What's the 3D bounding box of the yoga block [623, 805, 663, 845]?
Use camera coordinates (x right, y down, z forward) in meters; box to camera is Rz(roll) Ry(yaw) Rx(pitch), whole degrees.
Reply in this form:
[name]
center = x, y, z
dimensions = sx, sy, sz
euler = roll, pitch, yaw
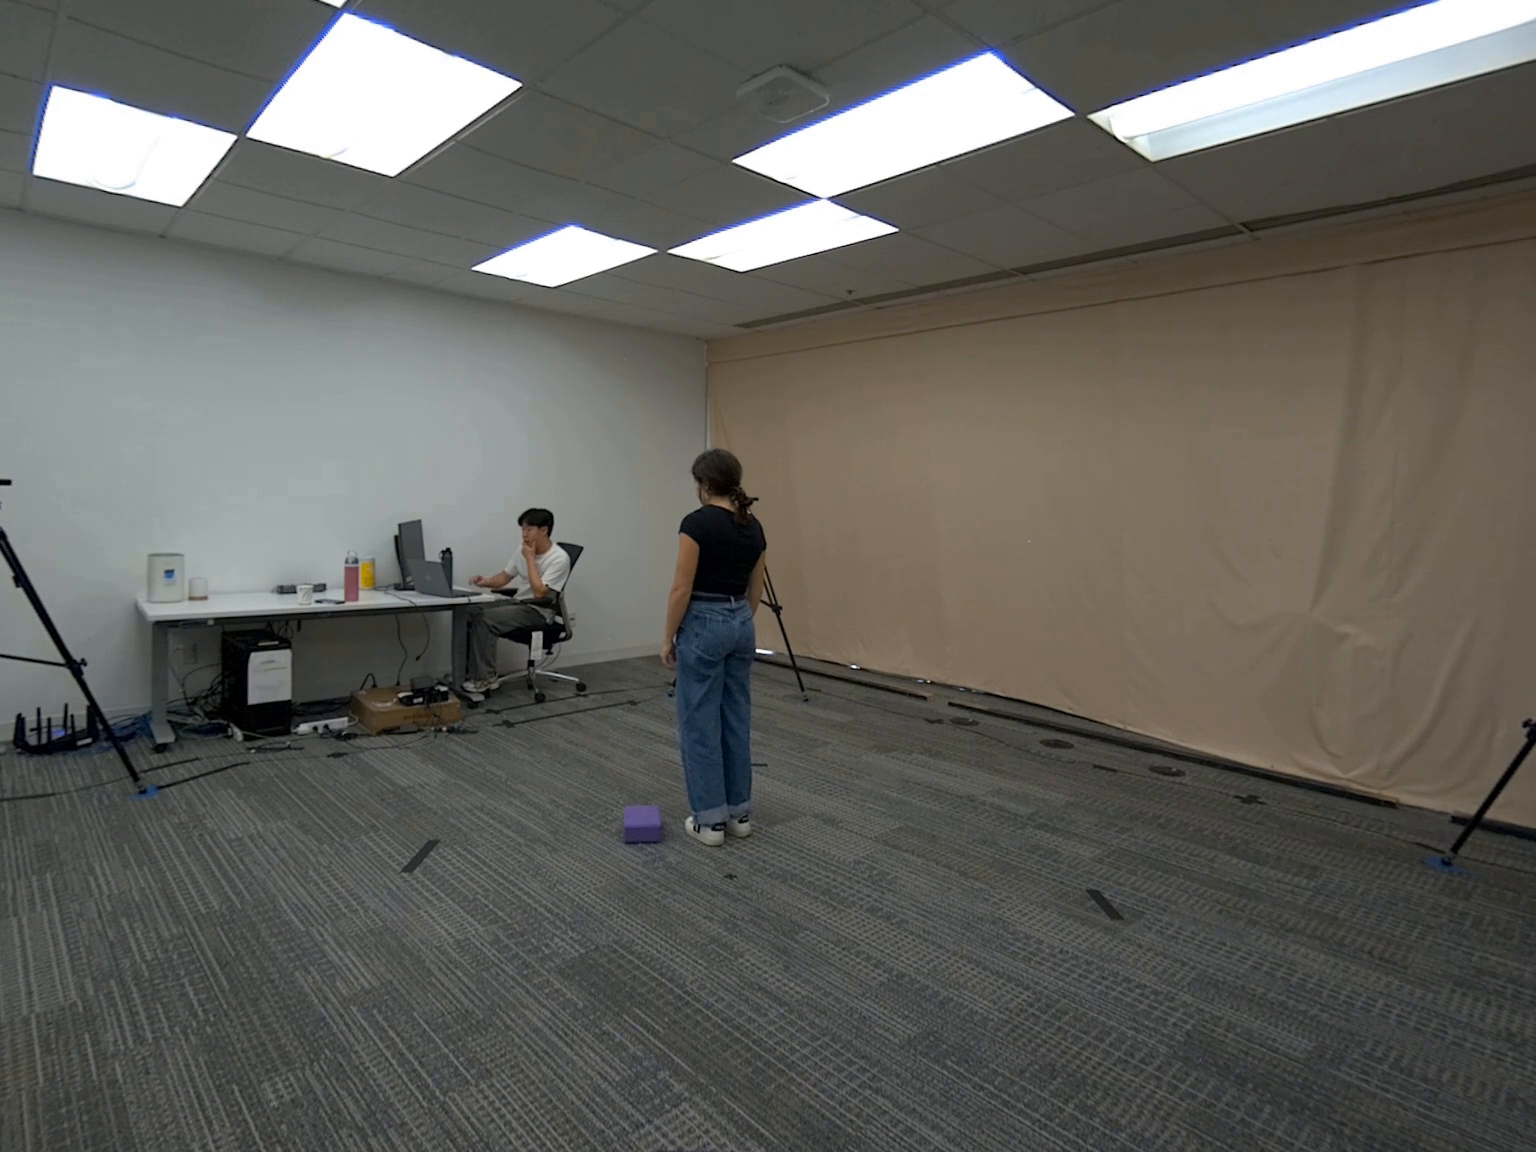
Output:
[yoga block]
center = -0.527, 1.020, 3.486
dimensions = 0.148, 0.076, 0.232
euler = 0, 7, -9
